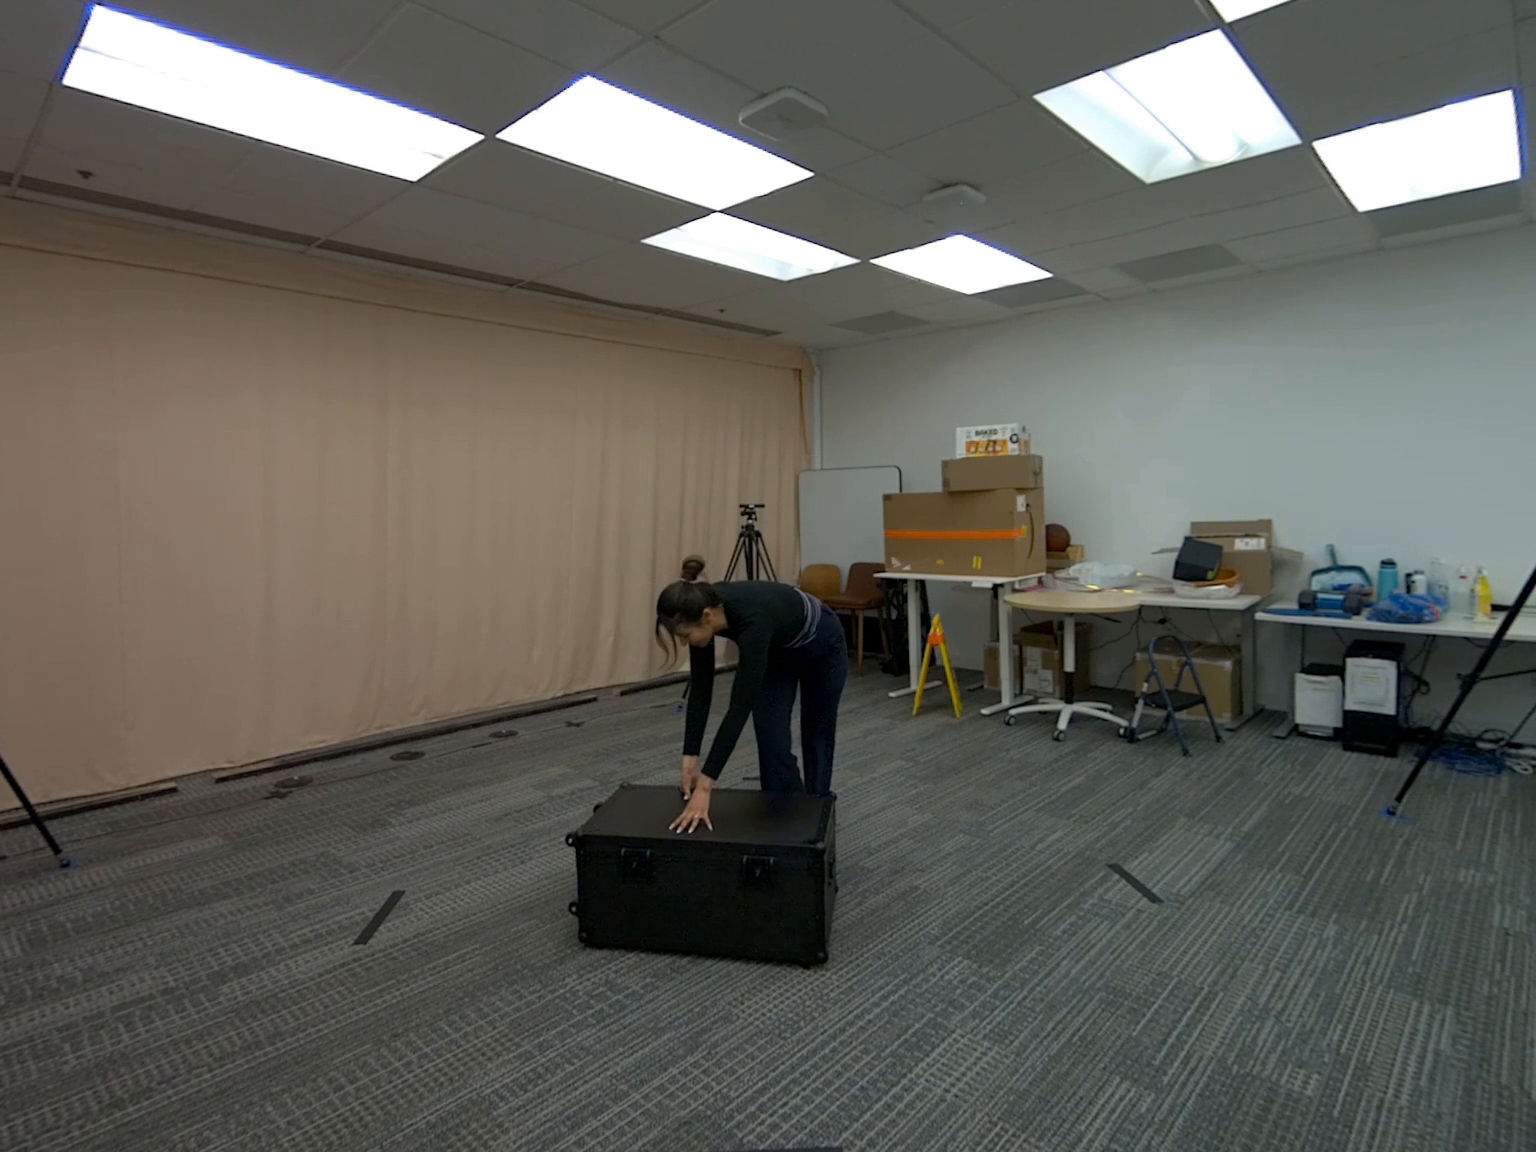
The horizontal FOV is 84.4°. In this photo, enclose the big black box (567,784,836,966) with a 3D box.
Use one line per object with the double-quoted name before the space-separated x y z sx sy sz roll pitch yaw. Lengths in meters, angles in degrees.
"big black box" -0.216 0.968 2.812 0.873 0.395 0.516 1 4 11
